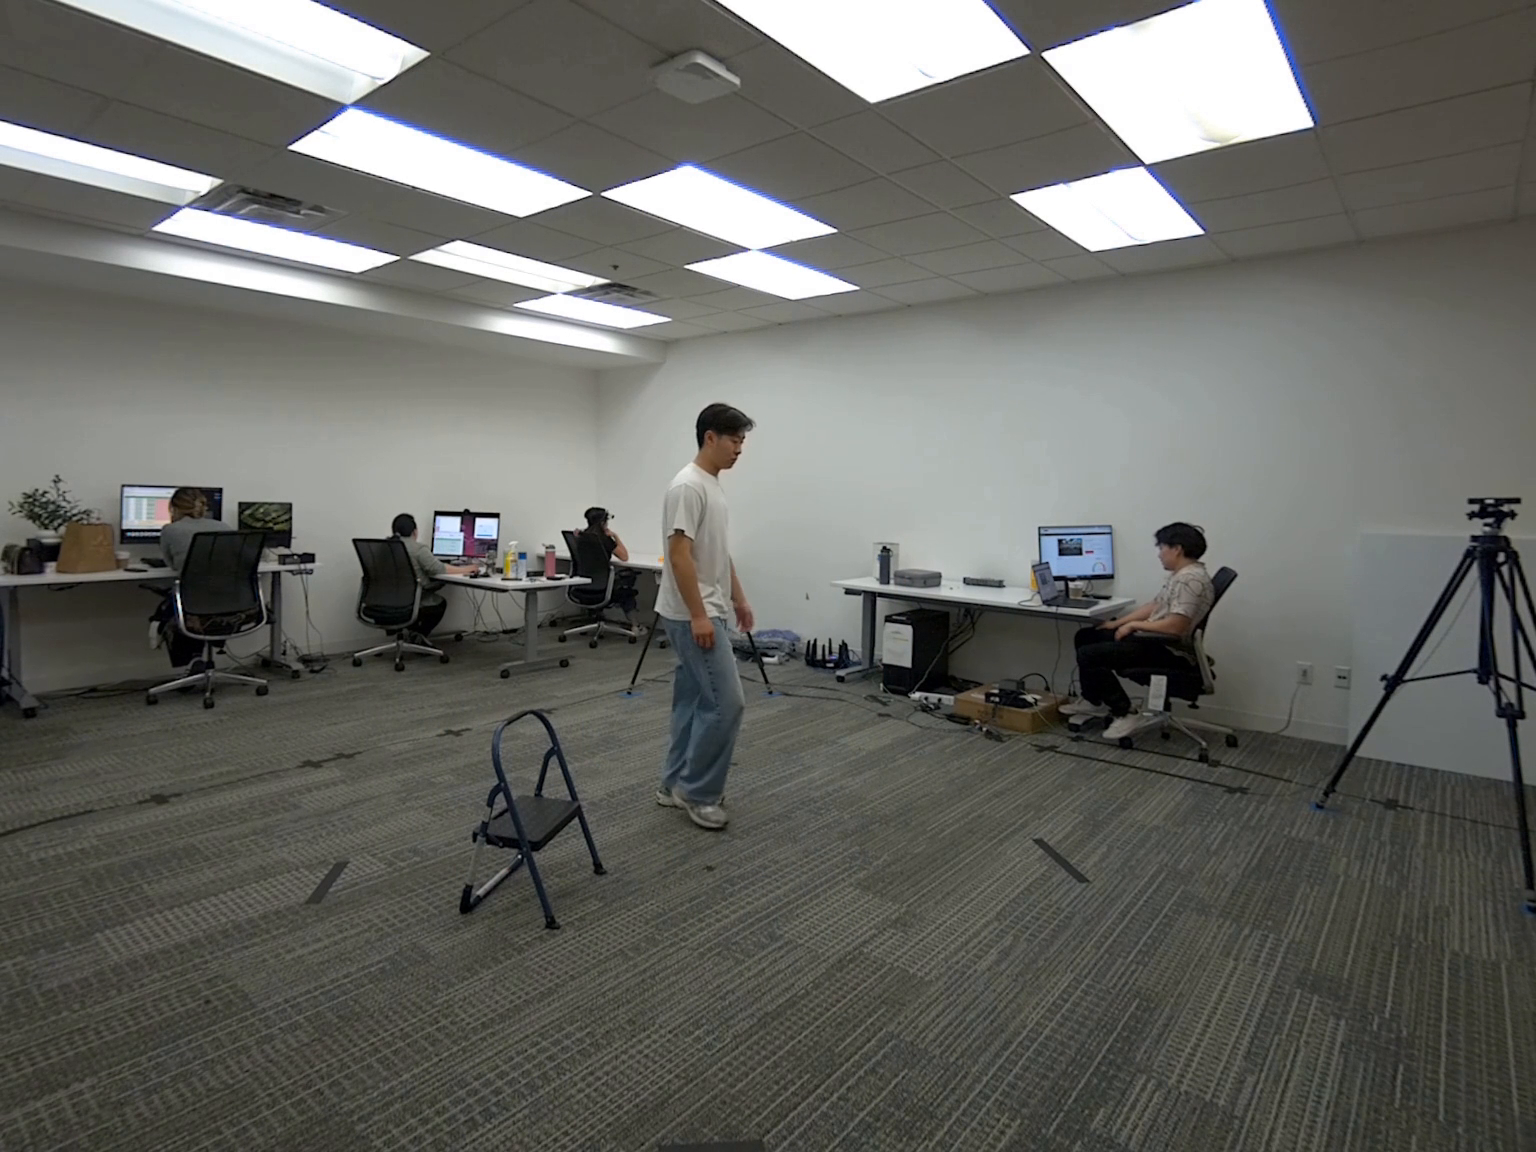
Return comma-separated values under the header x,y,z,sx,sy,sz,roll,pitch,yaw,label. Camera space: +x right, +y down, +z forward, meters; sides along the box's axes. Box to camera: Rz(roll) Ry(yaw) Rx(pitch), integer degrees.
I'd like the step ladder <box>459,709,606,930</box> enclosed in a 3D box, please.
x,y,z,sx,sy,sz,roll,pitch,yaw,label
-0.797,0.775,2.886,0.354,0.604,0.426,2,4,12,step ladder
